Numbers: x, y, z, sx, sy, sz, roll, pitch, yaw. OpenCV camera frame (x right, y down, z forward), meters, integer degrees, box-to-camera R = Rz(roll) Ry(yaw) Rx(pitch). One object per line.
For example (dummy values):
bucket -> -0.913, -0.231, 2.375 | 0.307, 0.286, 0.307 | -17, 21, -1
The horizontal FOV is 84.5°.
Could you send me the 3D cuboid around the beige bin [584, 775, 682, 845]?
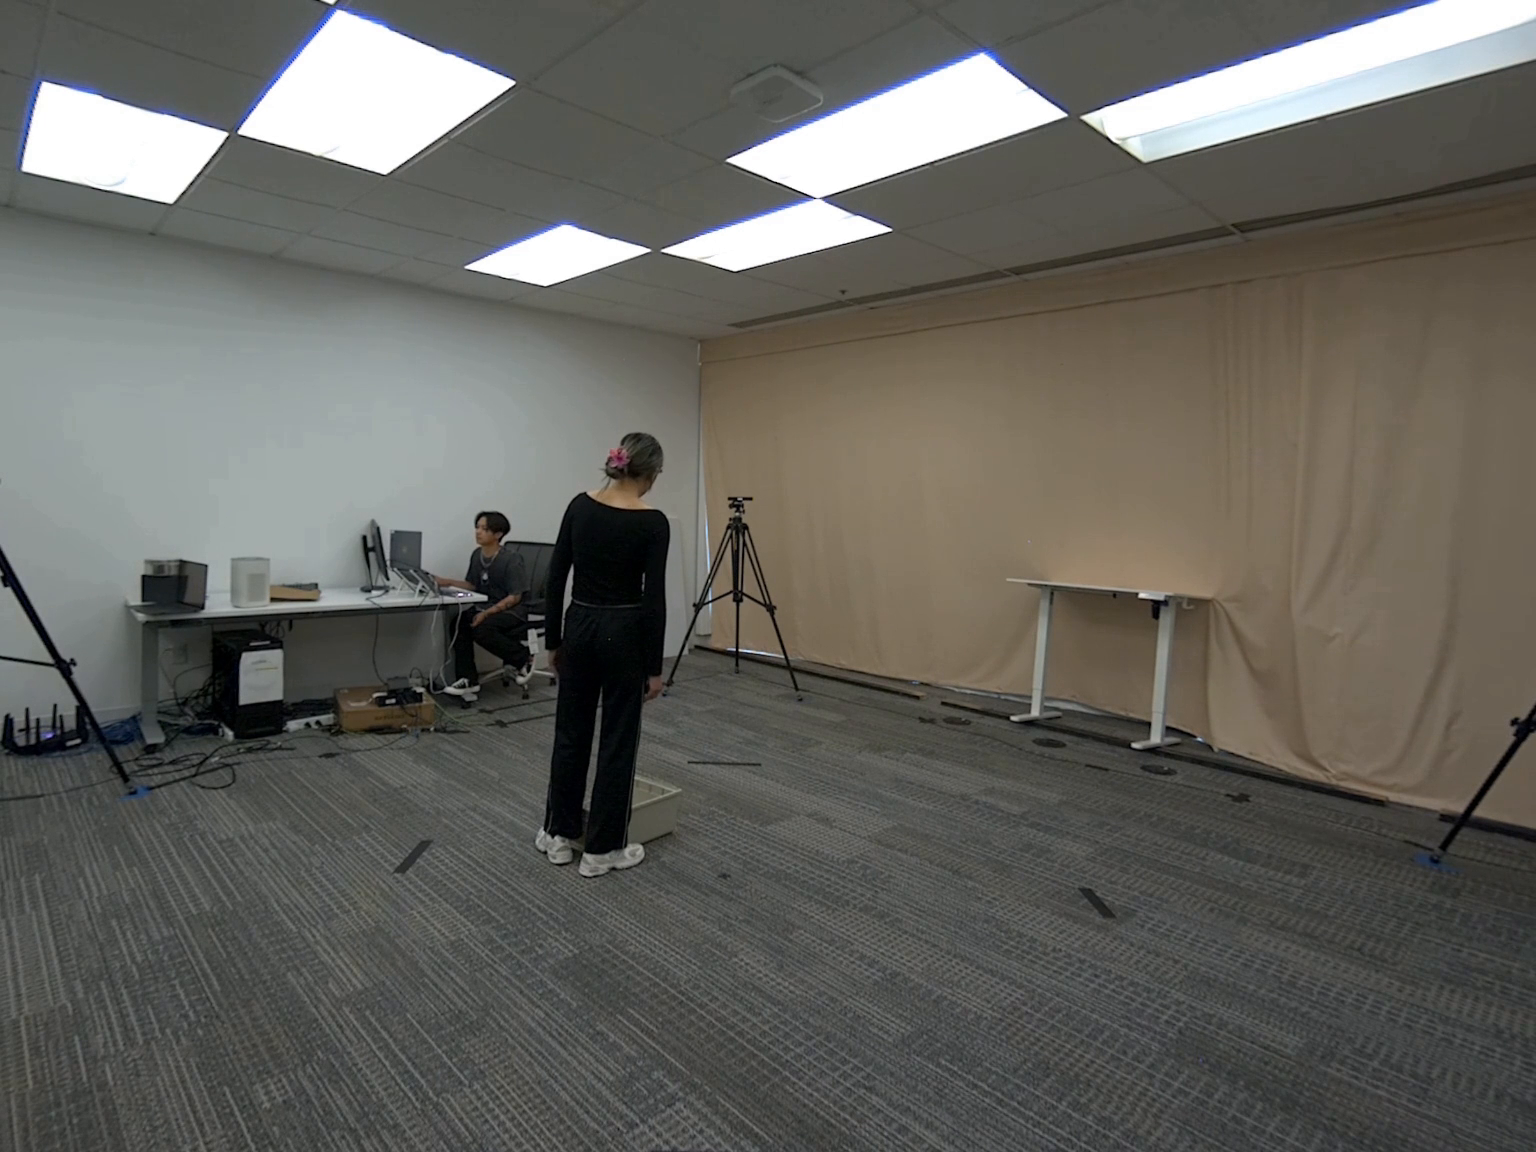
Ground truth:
beige bin -> -0.640, 0.975, 3.466 | 0.387, 0.188, 0.413 | 7, 6, 37
